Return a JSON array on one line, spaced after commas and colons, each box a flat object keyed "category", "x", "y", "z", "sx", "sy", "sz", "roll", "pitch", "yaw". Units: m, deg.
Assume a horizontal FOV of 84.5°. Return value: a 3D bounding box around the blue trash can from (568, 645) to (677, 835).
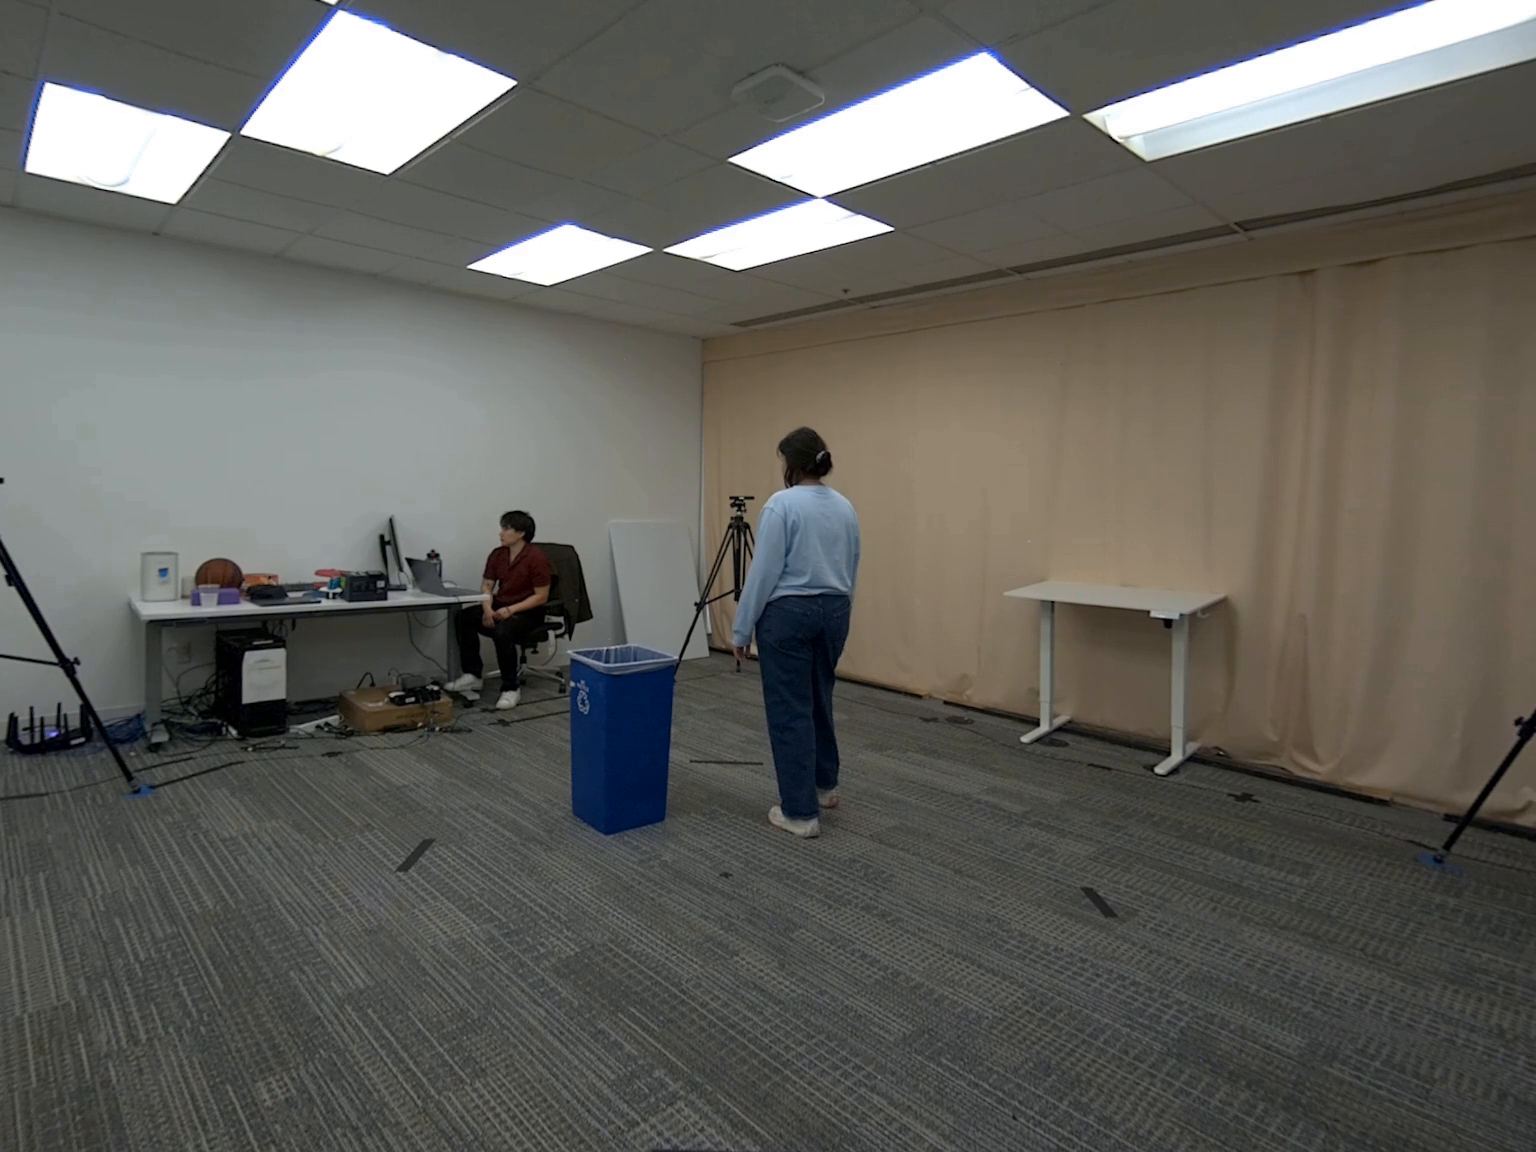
[{"category": "blue trash can", "x": -0.642, "y": 0.689, "z": 3.620, "sx": 0.365, "sy": 0.711, "sz": 0.388, "roll": -1, "pitch": 5, "yaw": -40}]
